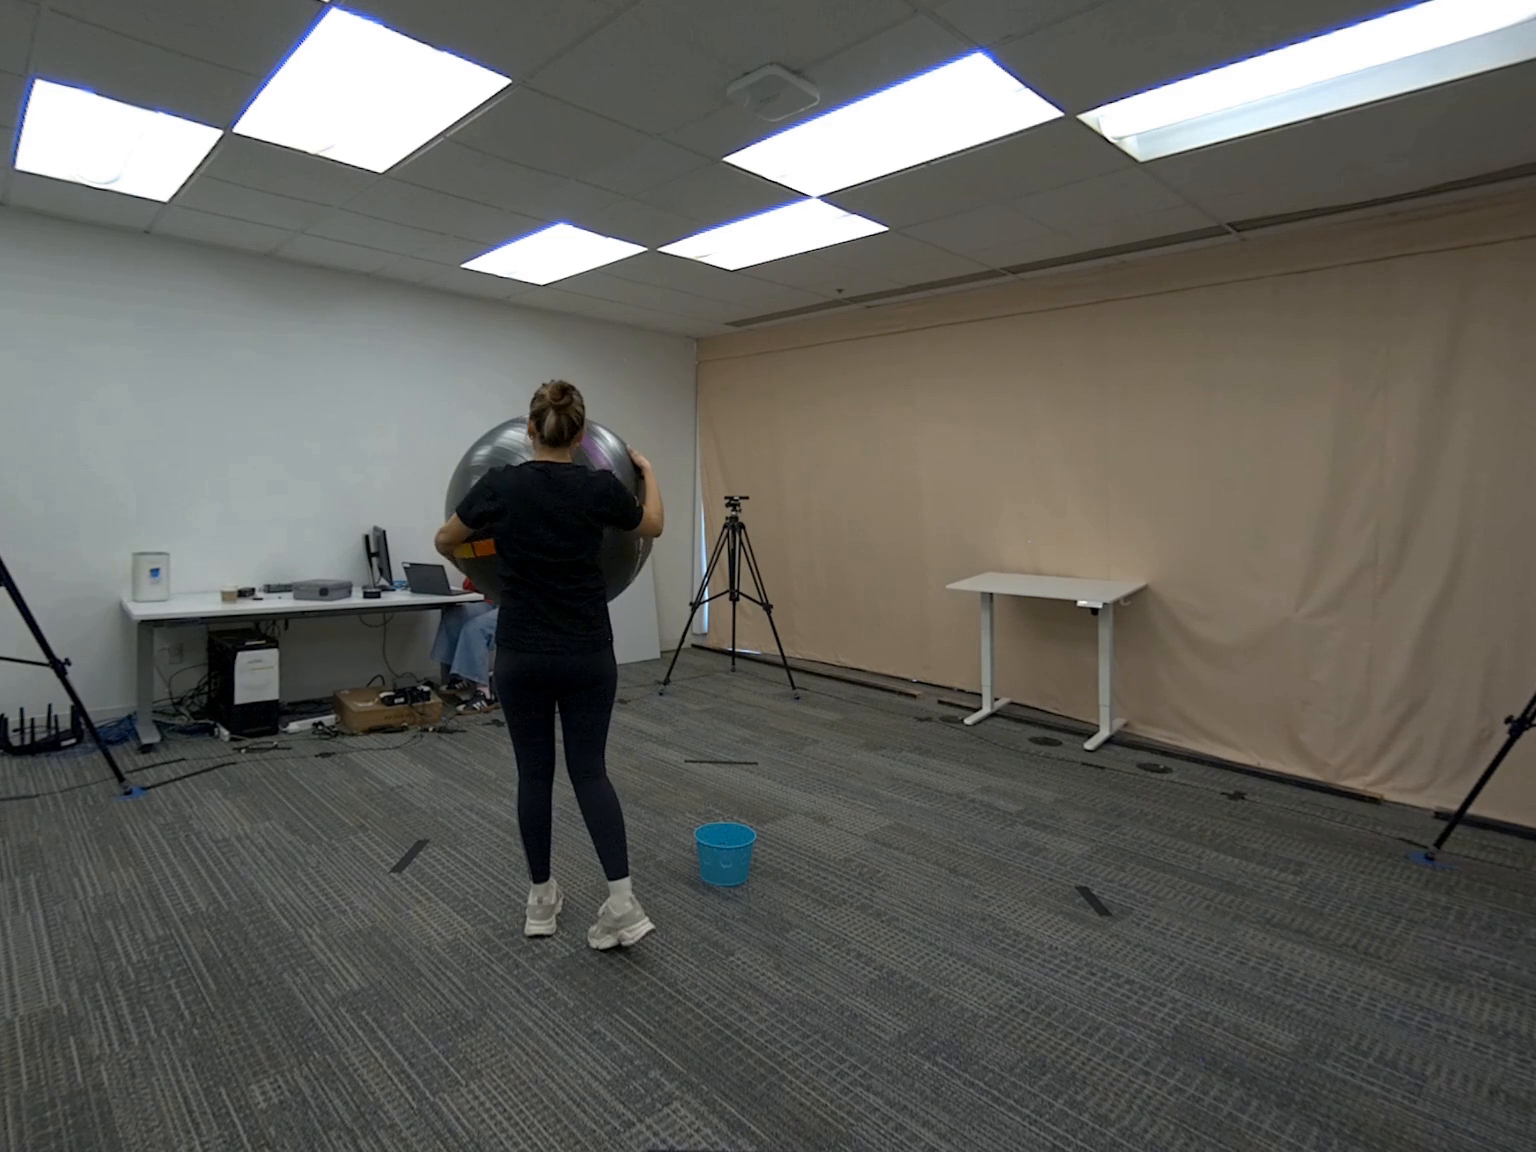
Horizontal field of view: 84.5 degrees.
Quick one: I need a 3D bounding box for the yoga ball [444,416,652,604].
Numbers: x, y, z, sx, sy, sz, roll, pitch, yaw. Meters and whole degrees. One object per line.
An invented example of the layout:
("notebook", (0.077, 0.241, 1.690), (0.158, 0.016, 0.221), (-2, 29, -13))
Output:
("yoga ball", (-0.798, -0.212, 3.094), (0.757, 0.756, 0.761), (1, 4, -1))
